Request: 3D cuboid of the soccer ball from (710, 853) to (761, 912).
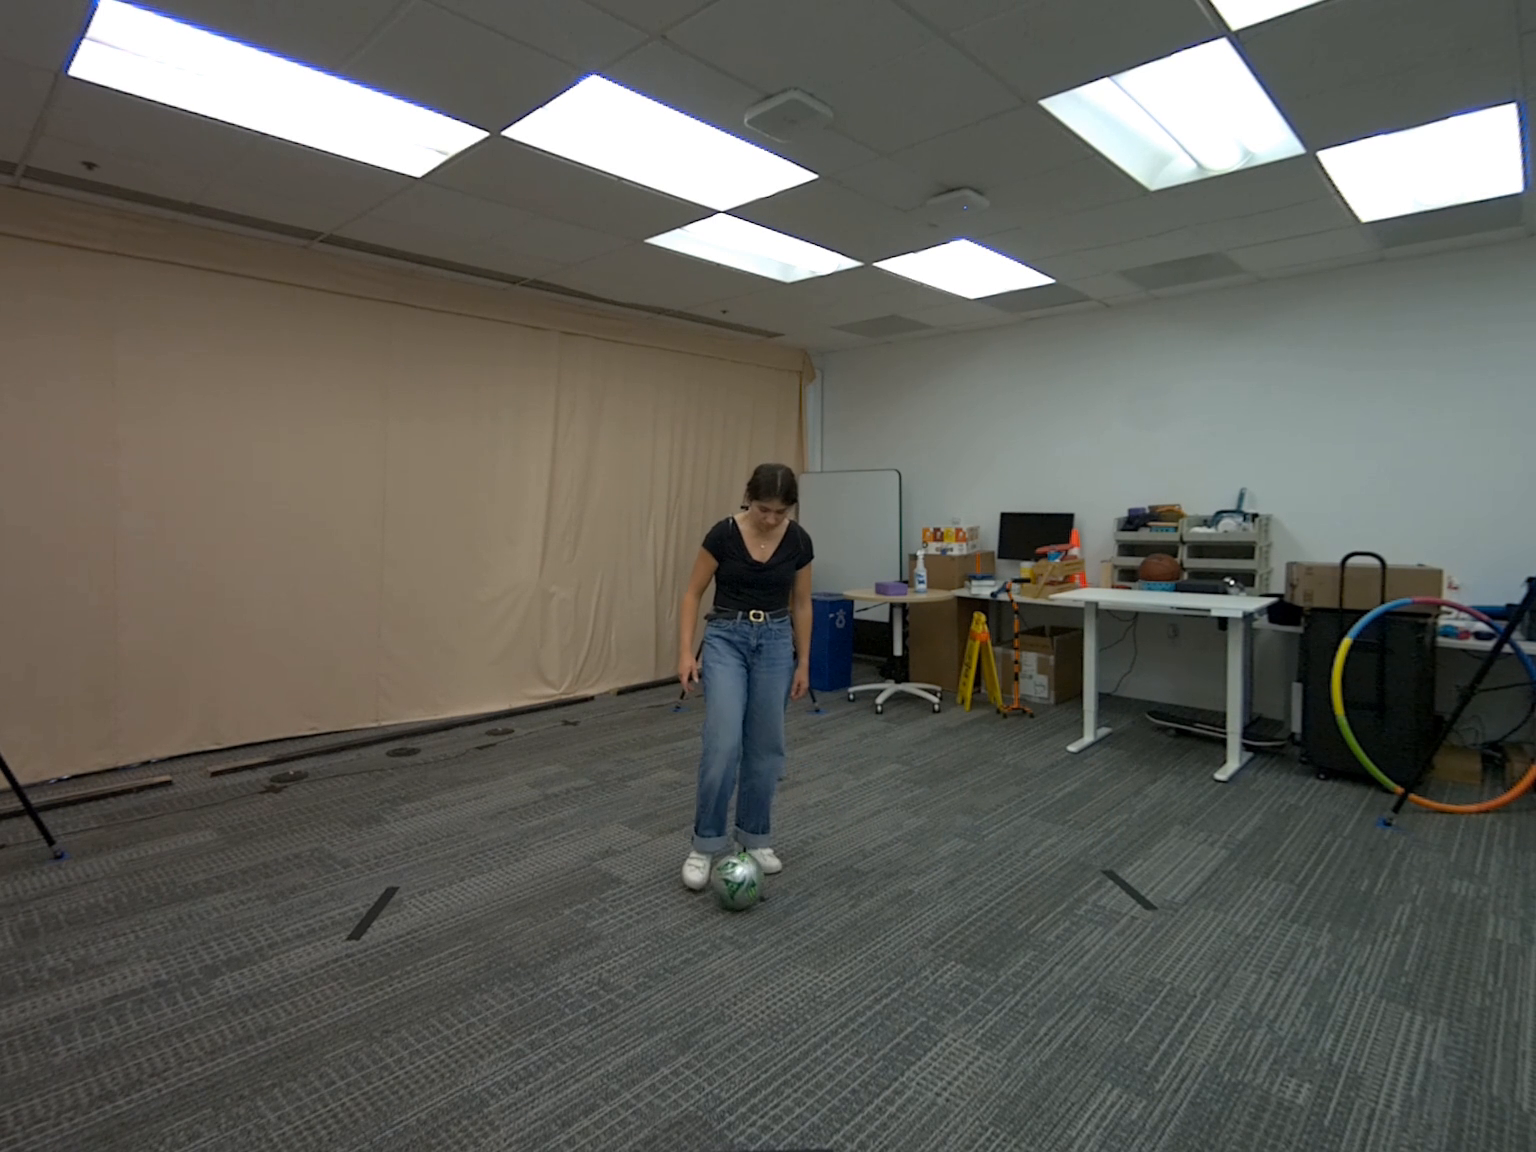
[{"bbox_3d":[-0.103,1.050,2.918,0.187,0.187,0.188,0,4,-2],"label":"soccer ball"}]
